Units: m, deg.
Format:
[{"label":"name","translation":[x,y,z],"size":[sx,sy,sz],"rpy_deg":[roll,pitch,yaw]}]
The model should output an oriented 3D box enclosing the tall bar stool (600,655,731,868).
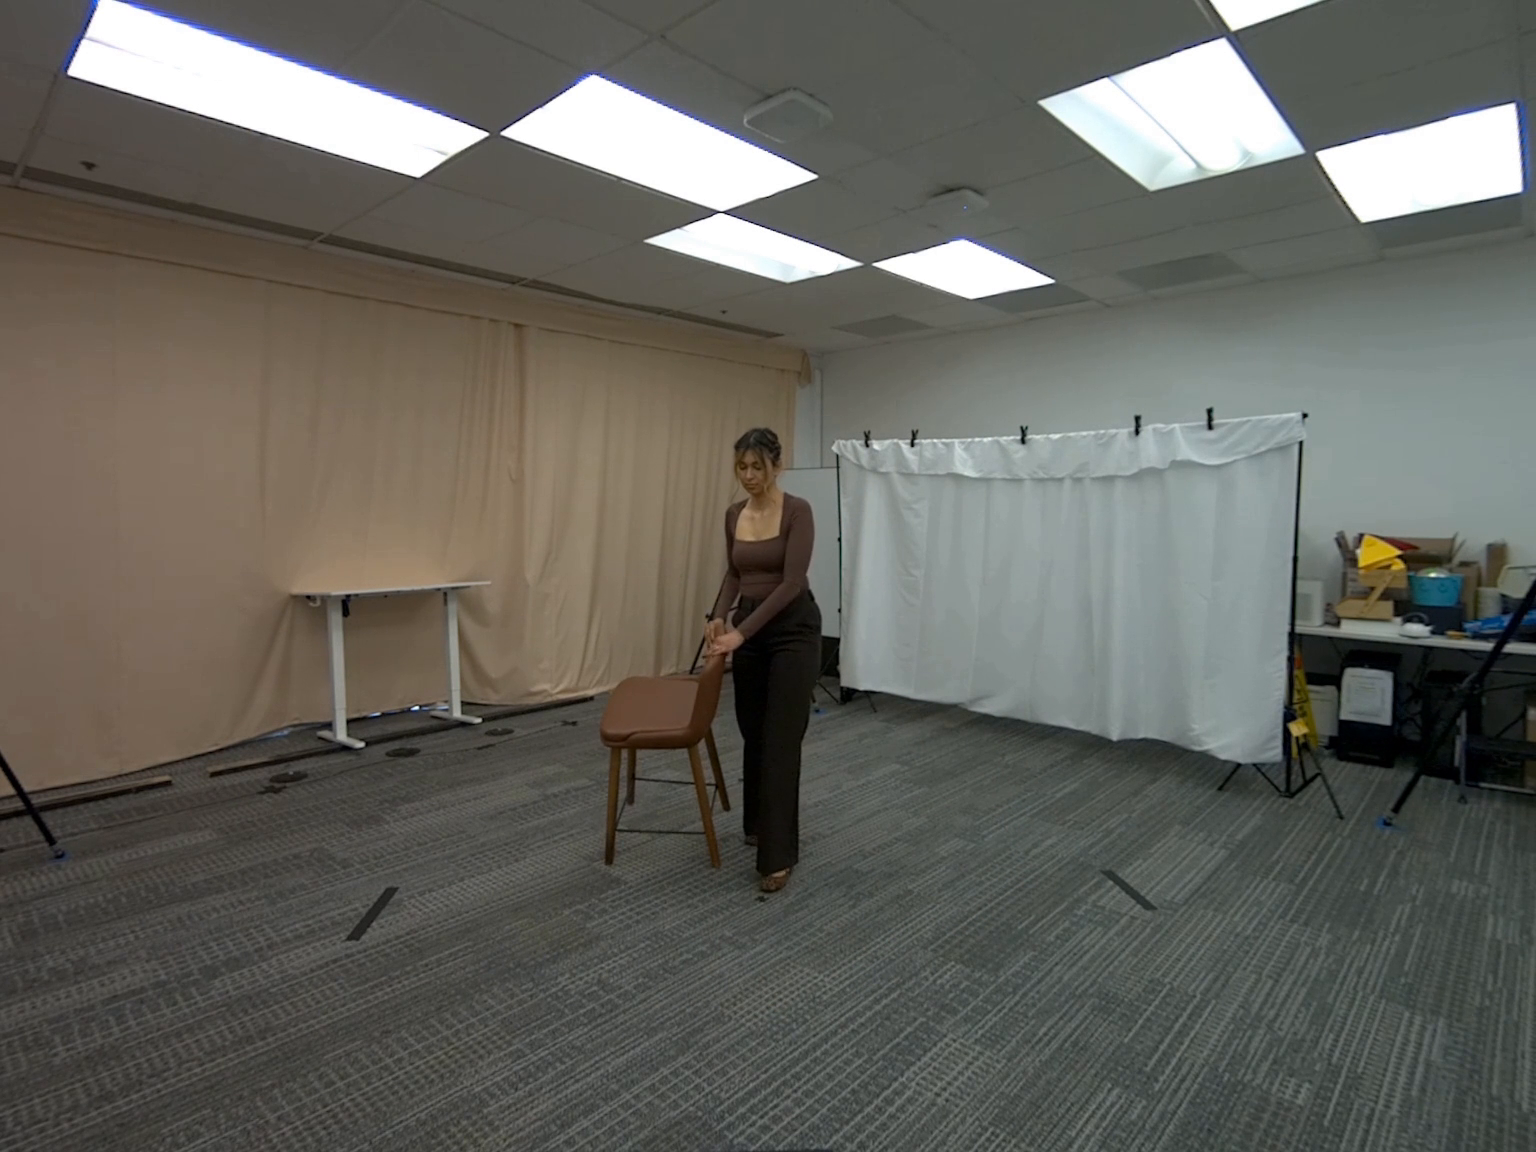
[{"label":"tall bar stool","translation":[-0.400,0.656,3.293],"size":[0.471,0.879,0.458],"rpy_deg":[4,21,6]}]
